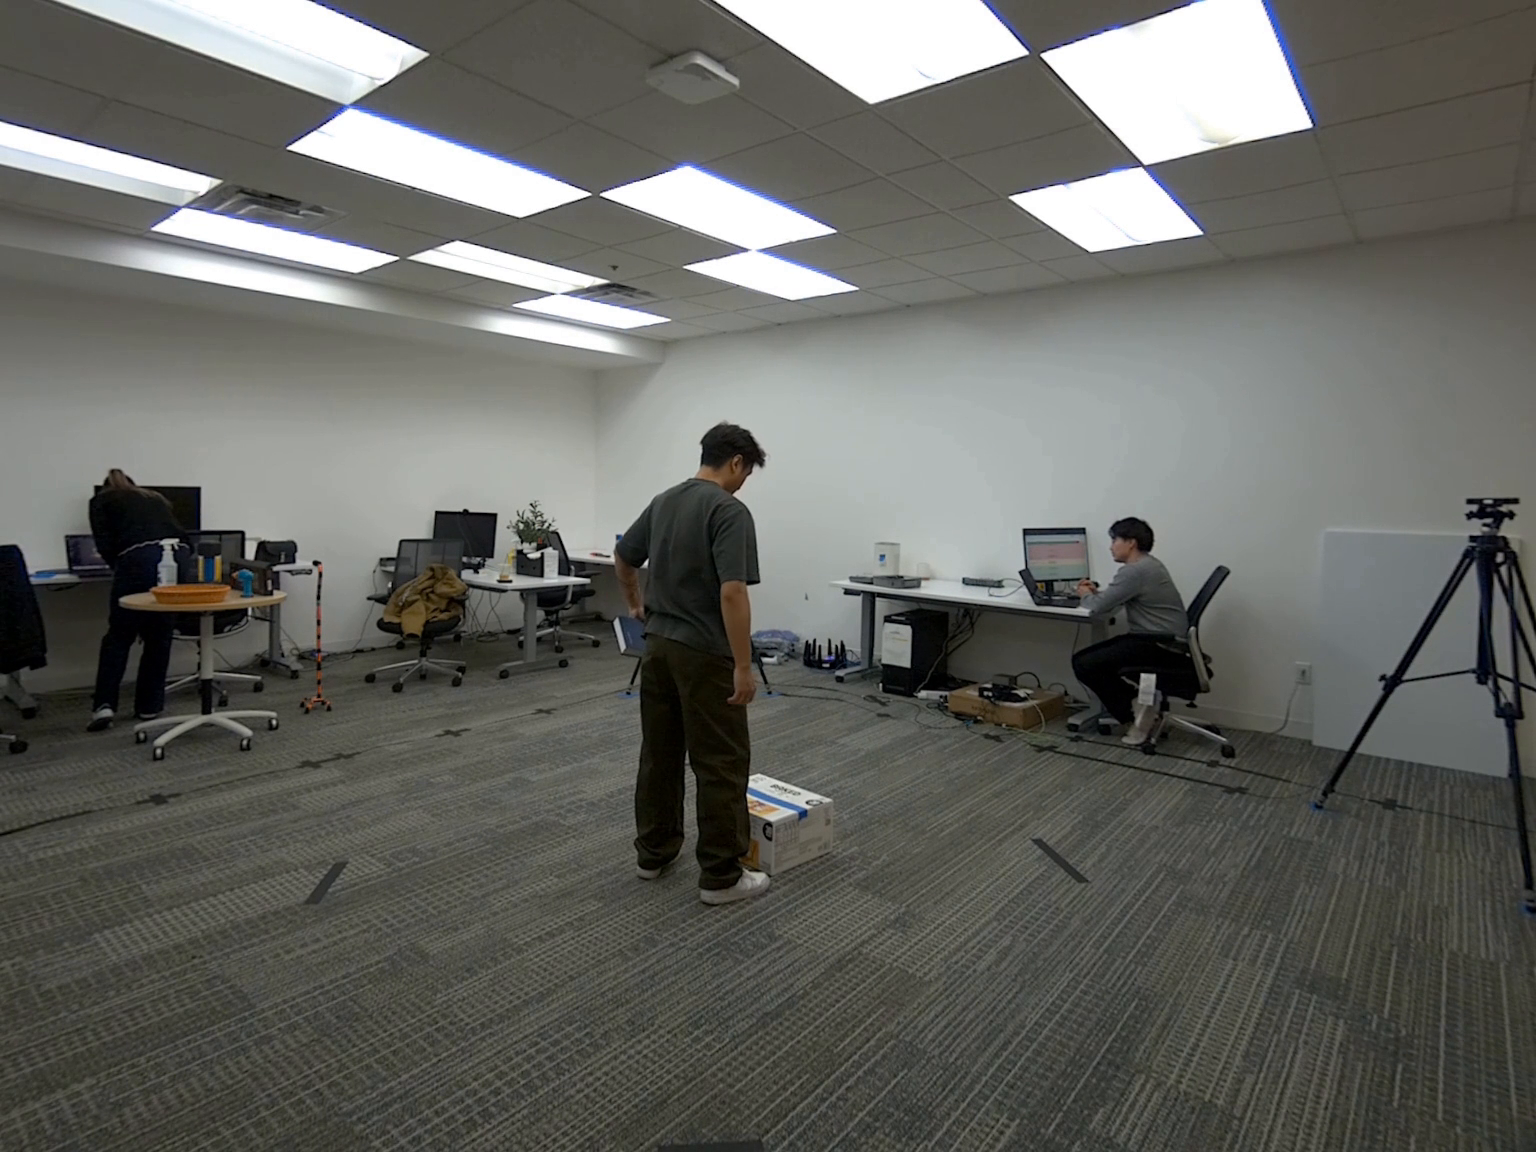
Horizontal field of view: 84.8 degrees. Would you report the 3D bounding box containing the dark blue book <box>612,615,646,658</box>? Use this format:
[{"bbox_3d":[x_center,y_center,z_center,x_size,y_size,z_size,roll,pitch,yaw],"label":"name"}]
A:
[{"bbox_3d":[-0.466,0.239,3.241,0.236,0.045,0.170,15,36,-37],"label":"dark blue book"}]
